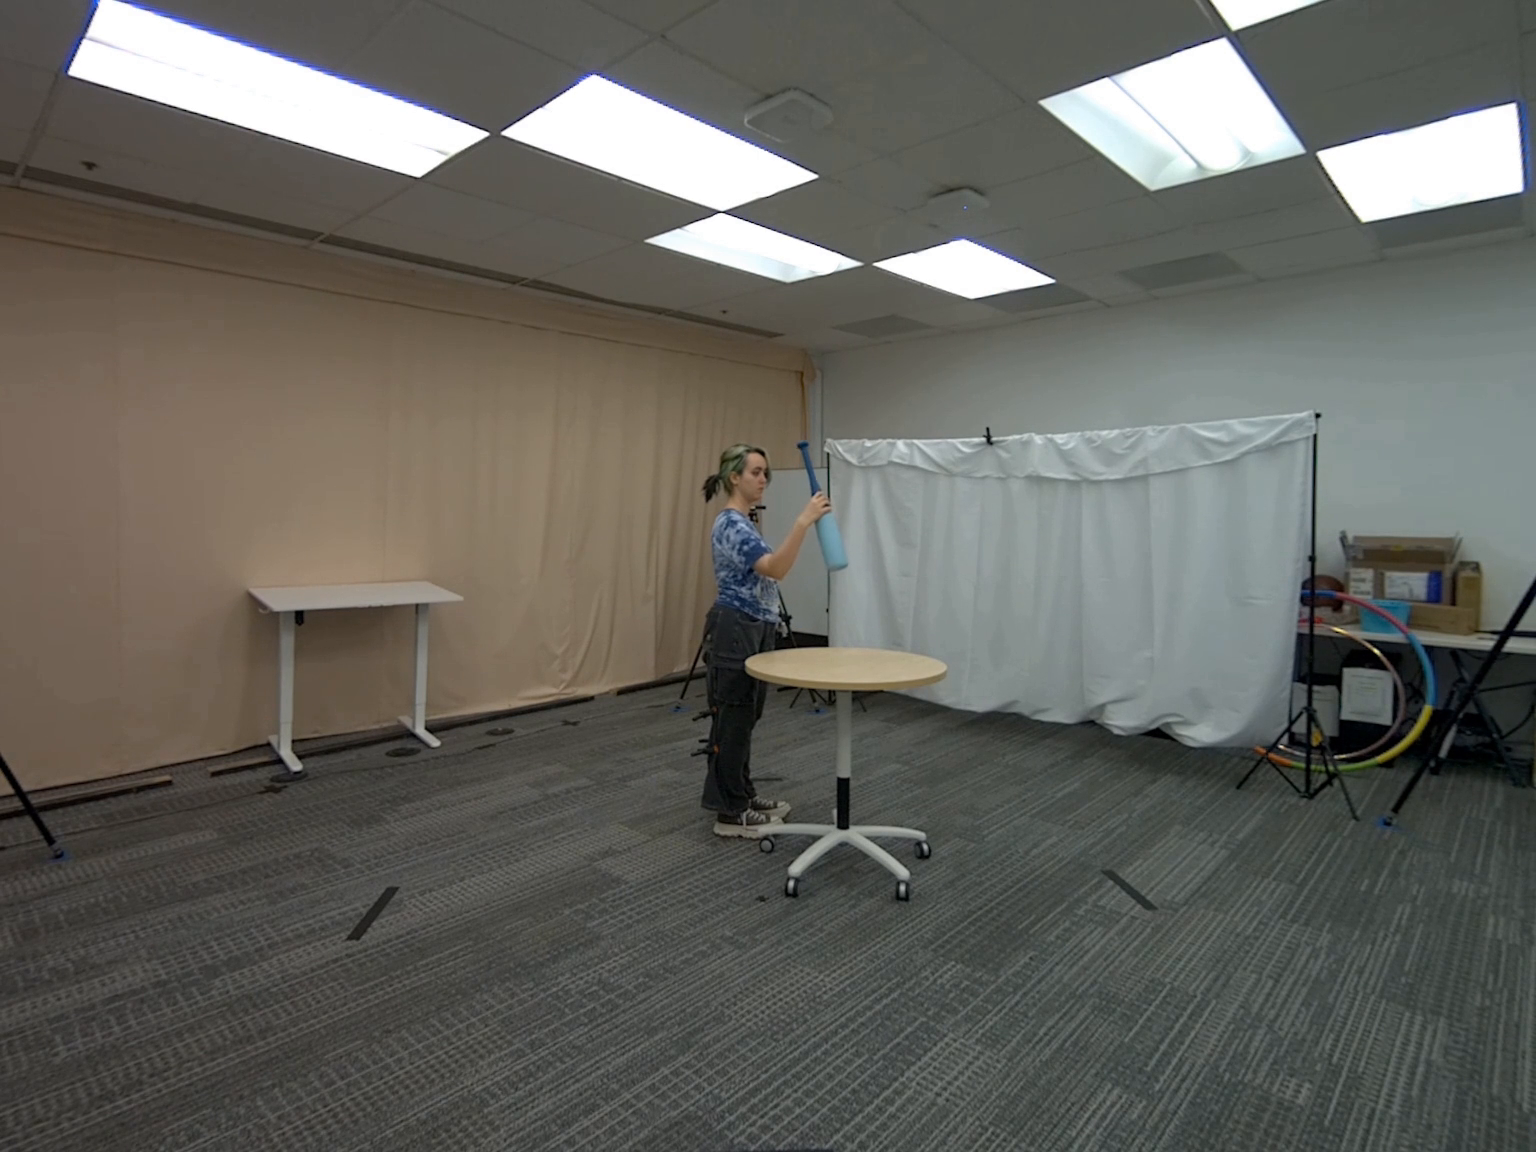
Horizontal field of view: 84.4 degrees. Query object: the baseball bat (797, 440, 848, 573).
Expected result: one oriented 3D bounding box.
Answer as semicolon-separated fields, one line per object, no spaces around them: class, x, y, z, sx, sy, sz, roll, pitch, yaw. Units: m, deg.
baseball bat;0.208;-0.284;3.334;0.089;0.549;0.088;-13;-13;-5
